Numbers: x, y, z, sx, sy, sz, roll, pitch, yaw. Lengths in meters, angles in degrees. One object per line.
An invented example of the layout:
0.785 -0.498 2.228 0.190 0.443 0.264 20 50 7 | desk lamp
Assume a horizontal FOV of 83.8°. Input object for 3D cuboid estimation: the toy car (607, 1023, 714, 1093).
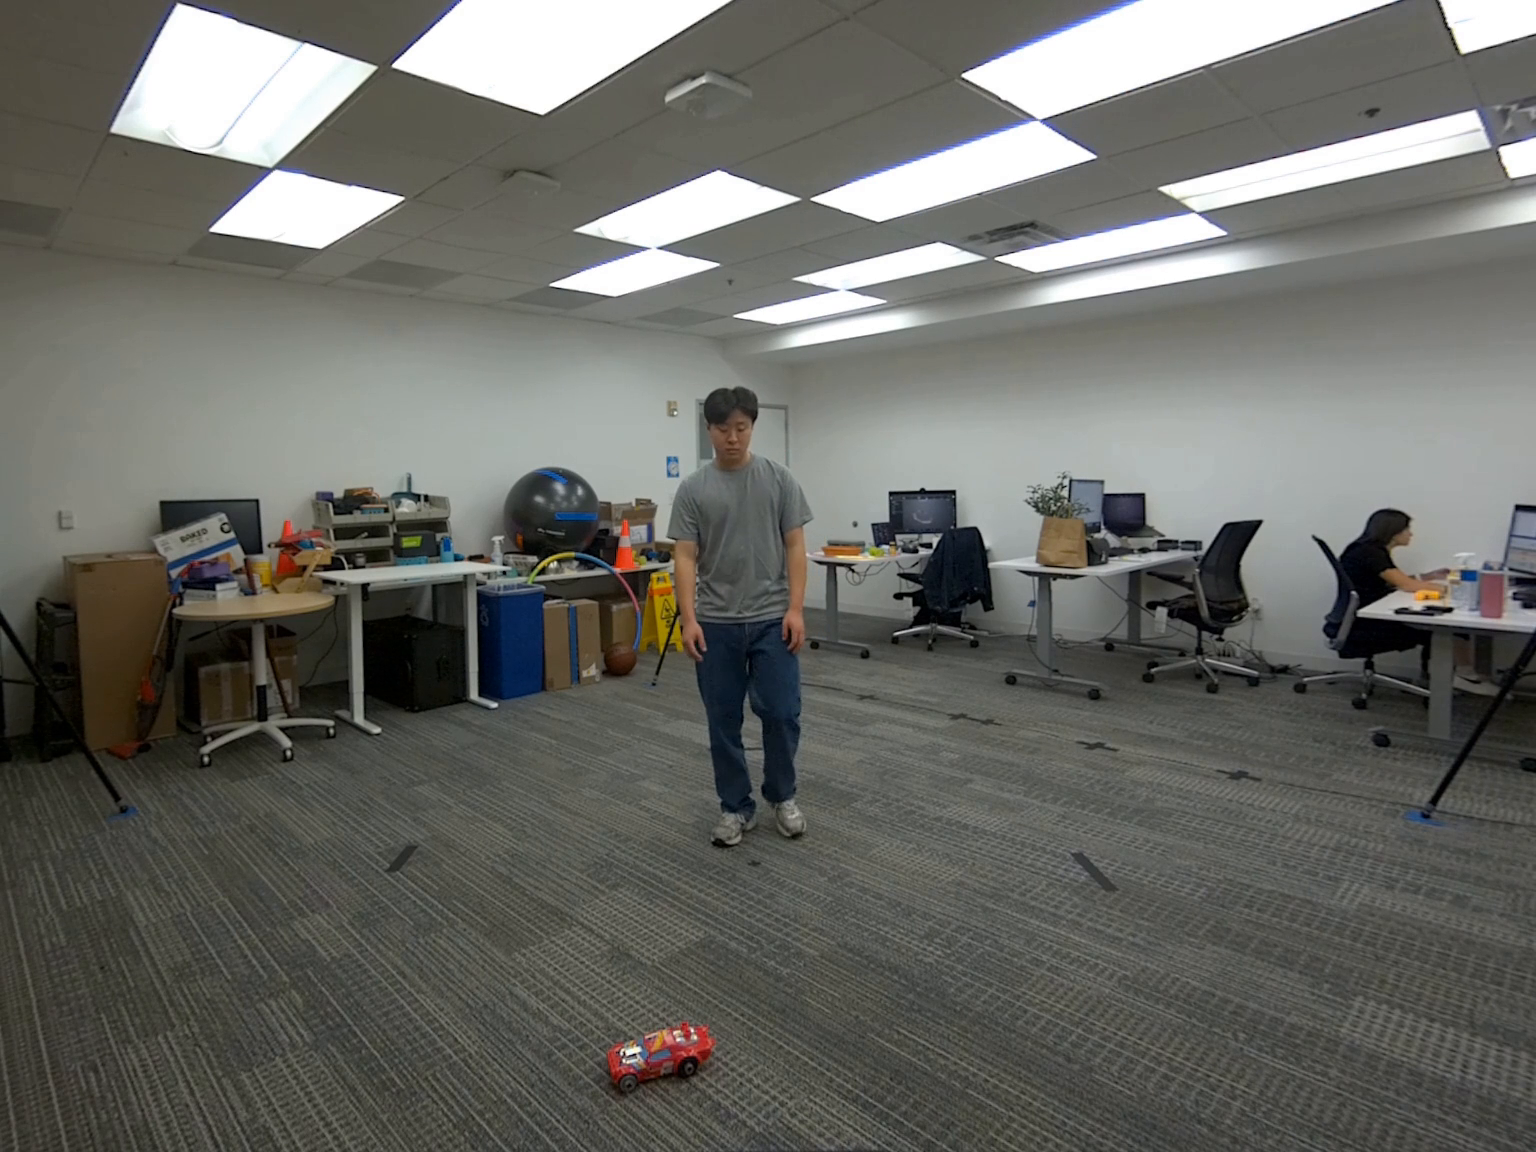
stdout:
-0.251 1.149 2.037 0.251 0.082 0.133 -16 11 -17 | toy car
